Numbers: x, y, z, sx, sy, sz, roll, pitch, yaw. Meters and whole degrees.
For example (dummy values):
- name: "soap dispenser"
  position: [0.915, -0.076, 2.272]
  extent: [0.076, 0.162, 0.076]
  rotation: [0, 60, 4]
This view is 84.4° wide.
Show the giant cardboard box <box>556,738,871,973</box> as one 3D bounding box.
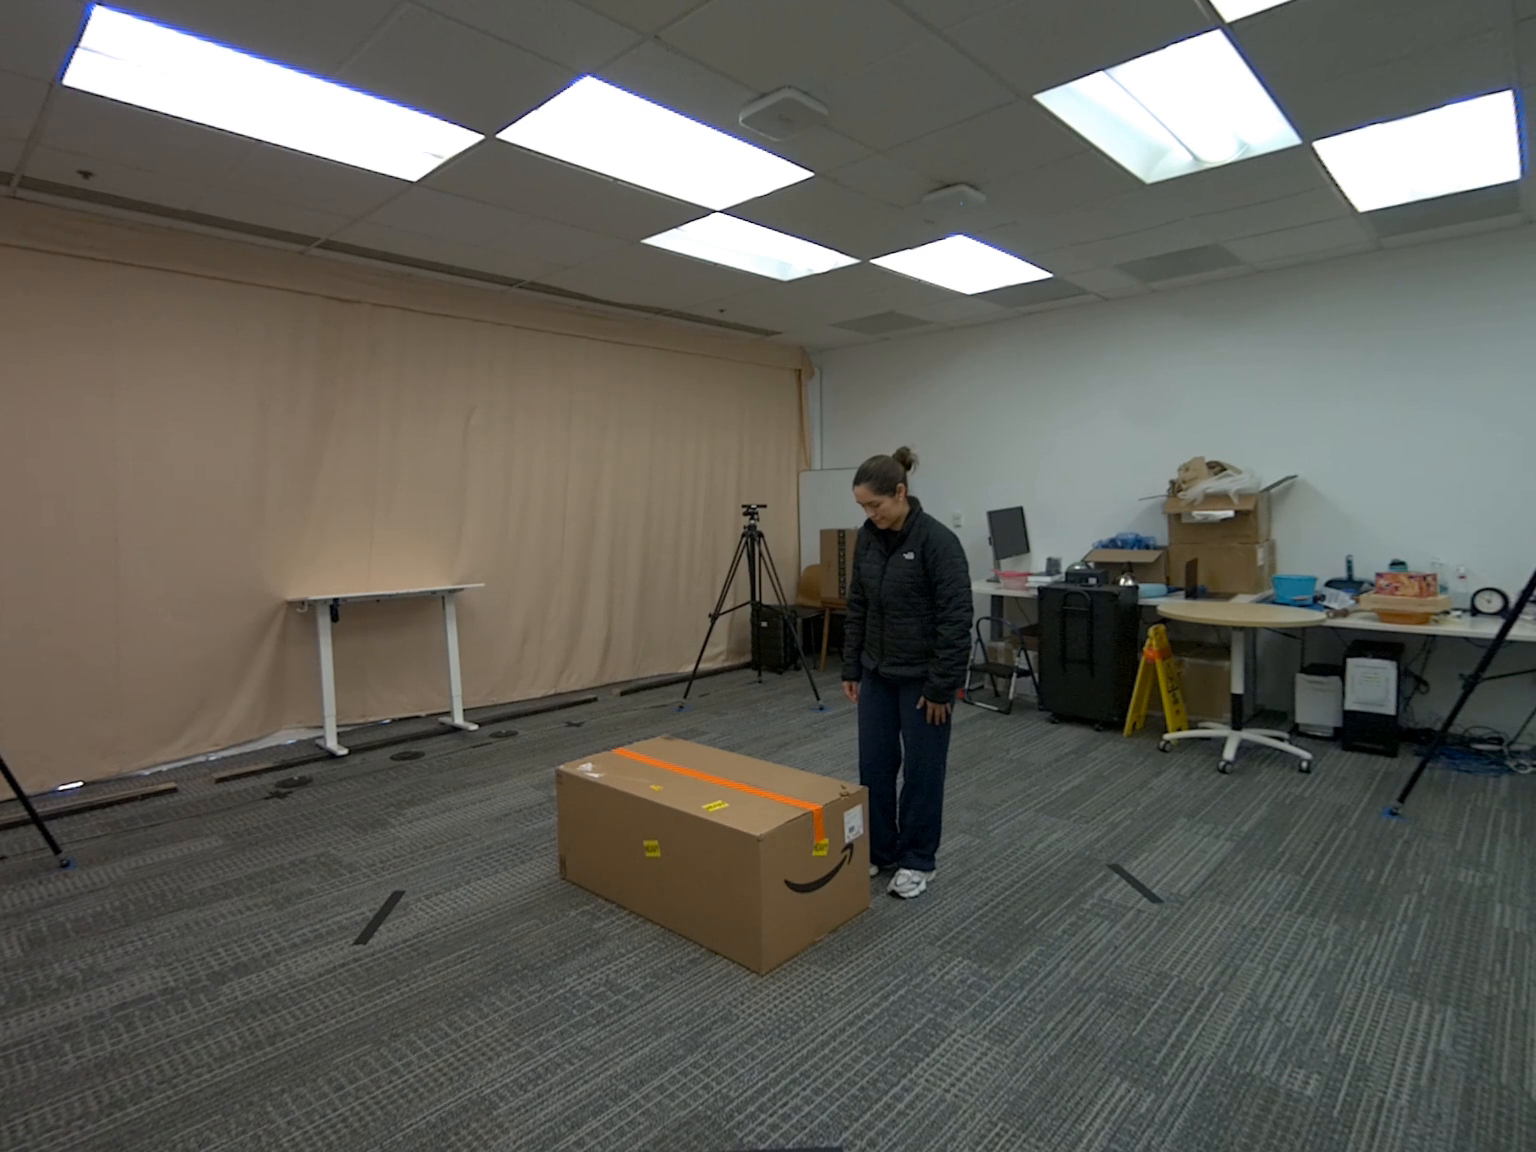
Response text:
- name: "giant cardboard box"
  position: [-0.211, 0.932, 3.031]
  extent: [1.061, 0.446, 0.566]
  rotation: [2, 4, 42]
